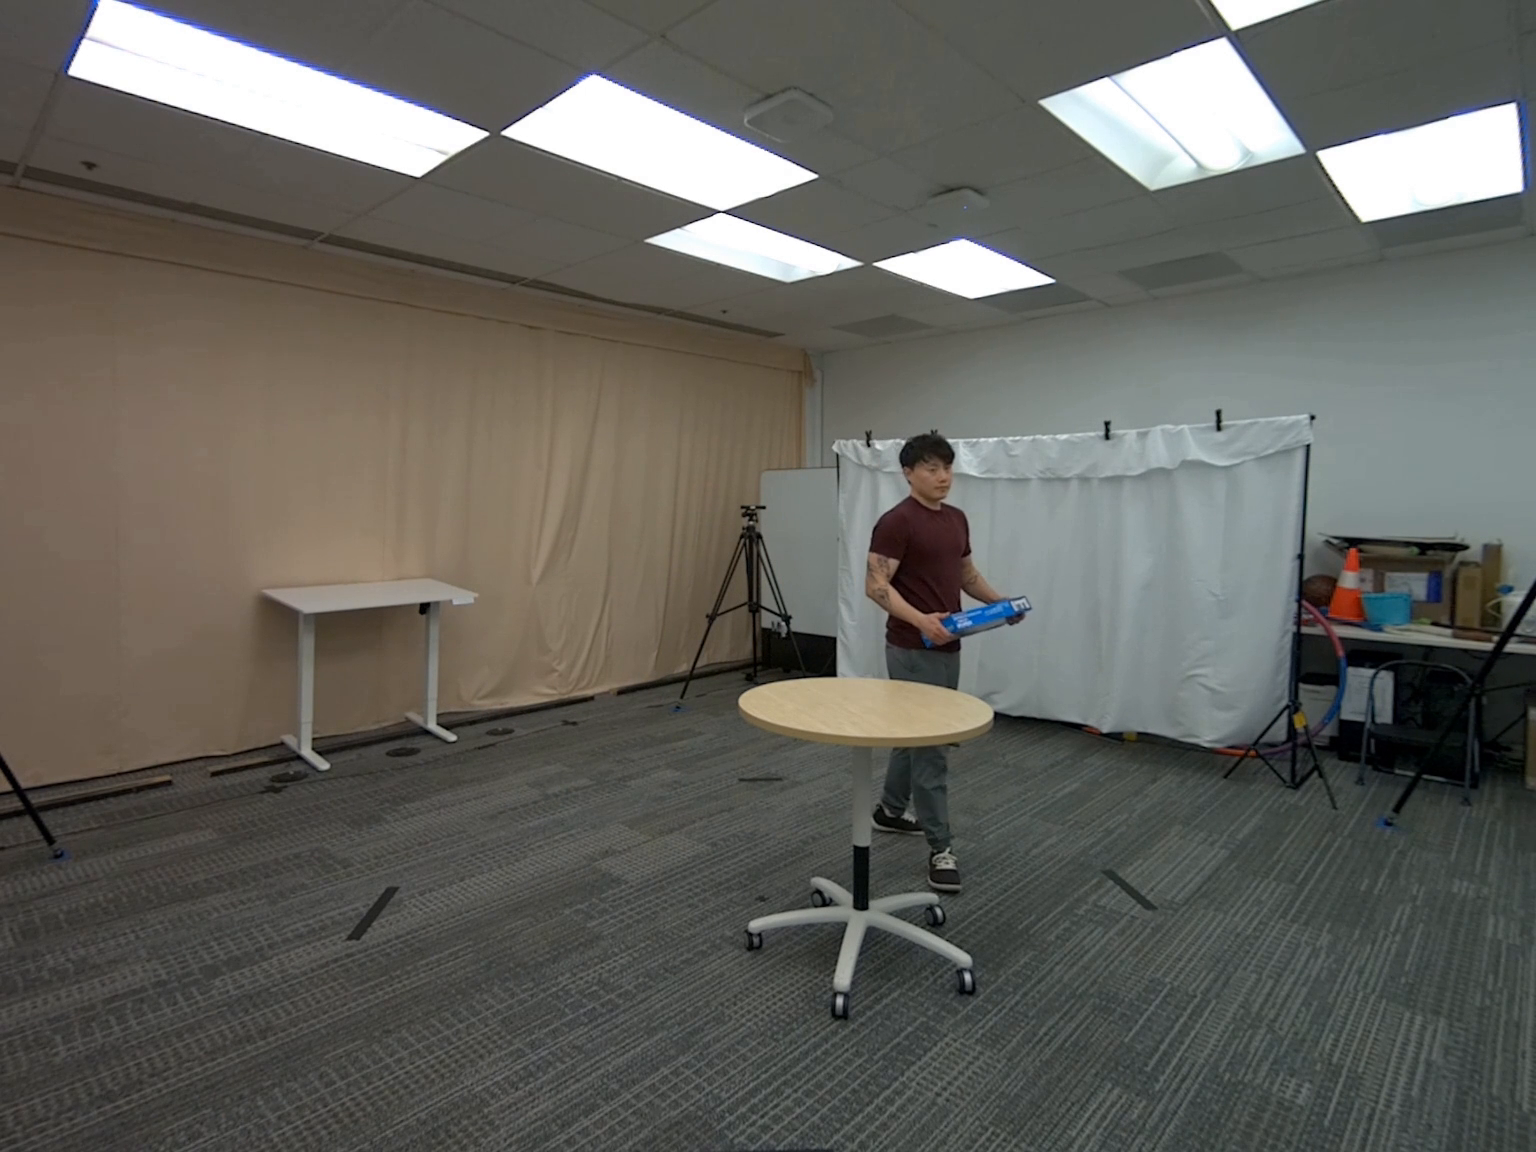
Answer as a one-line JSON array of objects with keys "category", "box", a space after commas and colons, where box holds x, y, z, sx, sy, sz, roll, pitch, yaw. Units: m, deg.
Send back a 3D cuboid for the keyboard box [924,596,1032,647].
[{"category": "keyboard box", "box": [0.776, 0.162, 3.151, 0.425, 0.060, 0.178, -10, -17, -36]}]
